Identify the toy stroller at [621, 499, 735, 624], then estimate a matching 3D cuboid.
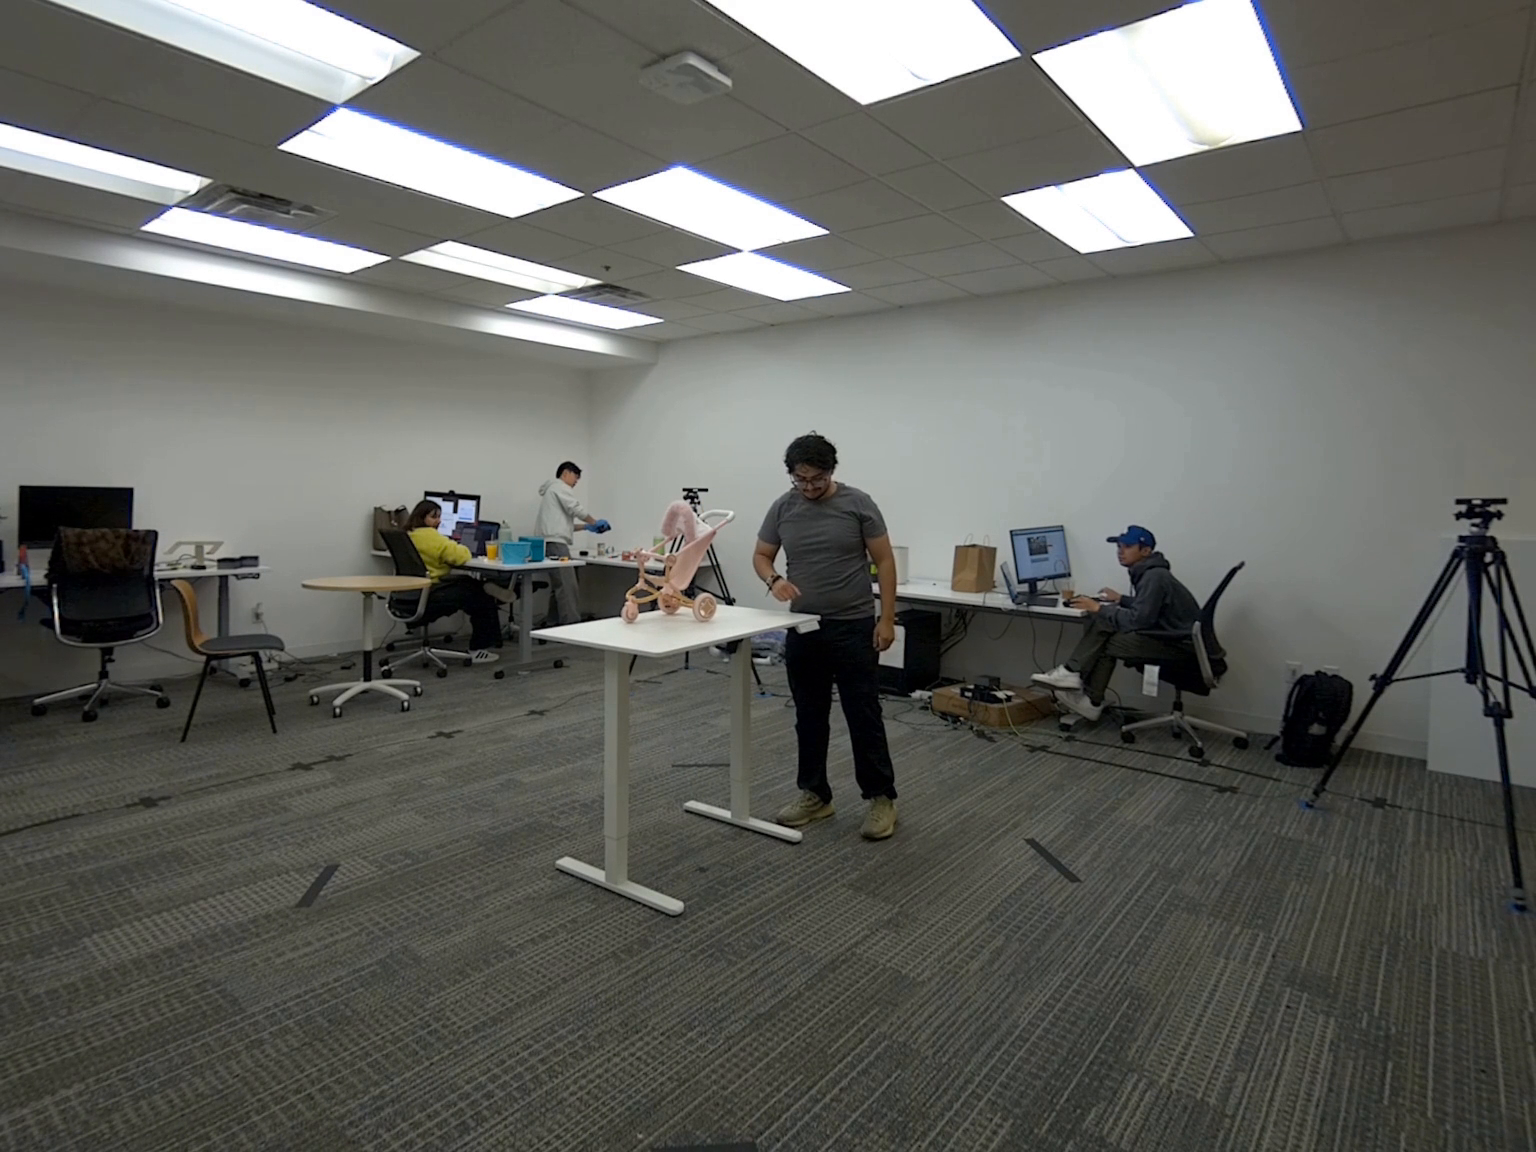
[{"bbox_3d":[-0.375,-0.057,3.297,0.330,0.537,0.290,18,-6,-32],"label":"toy stroller"}]
